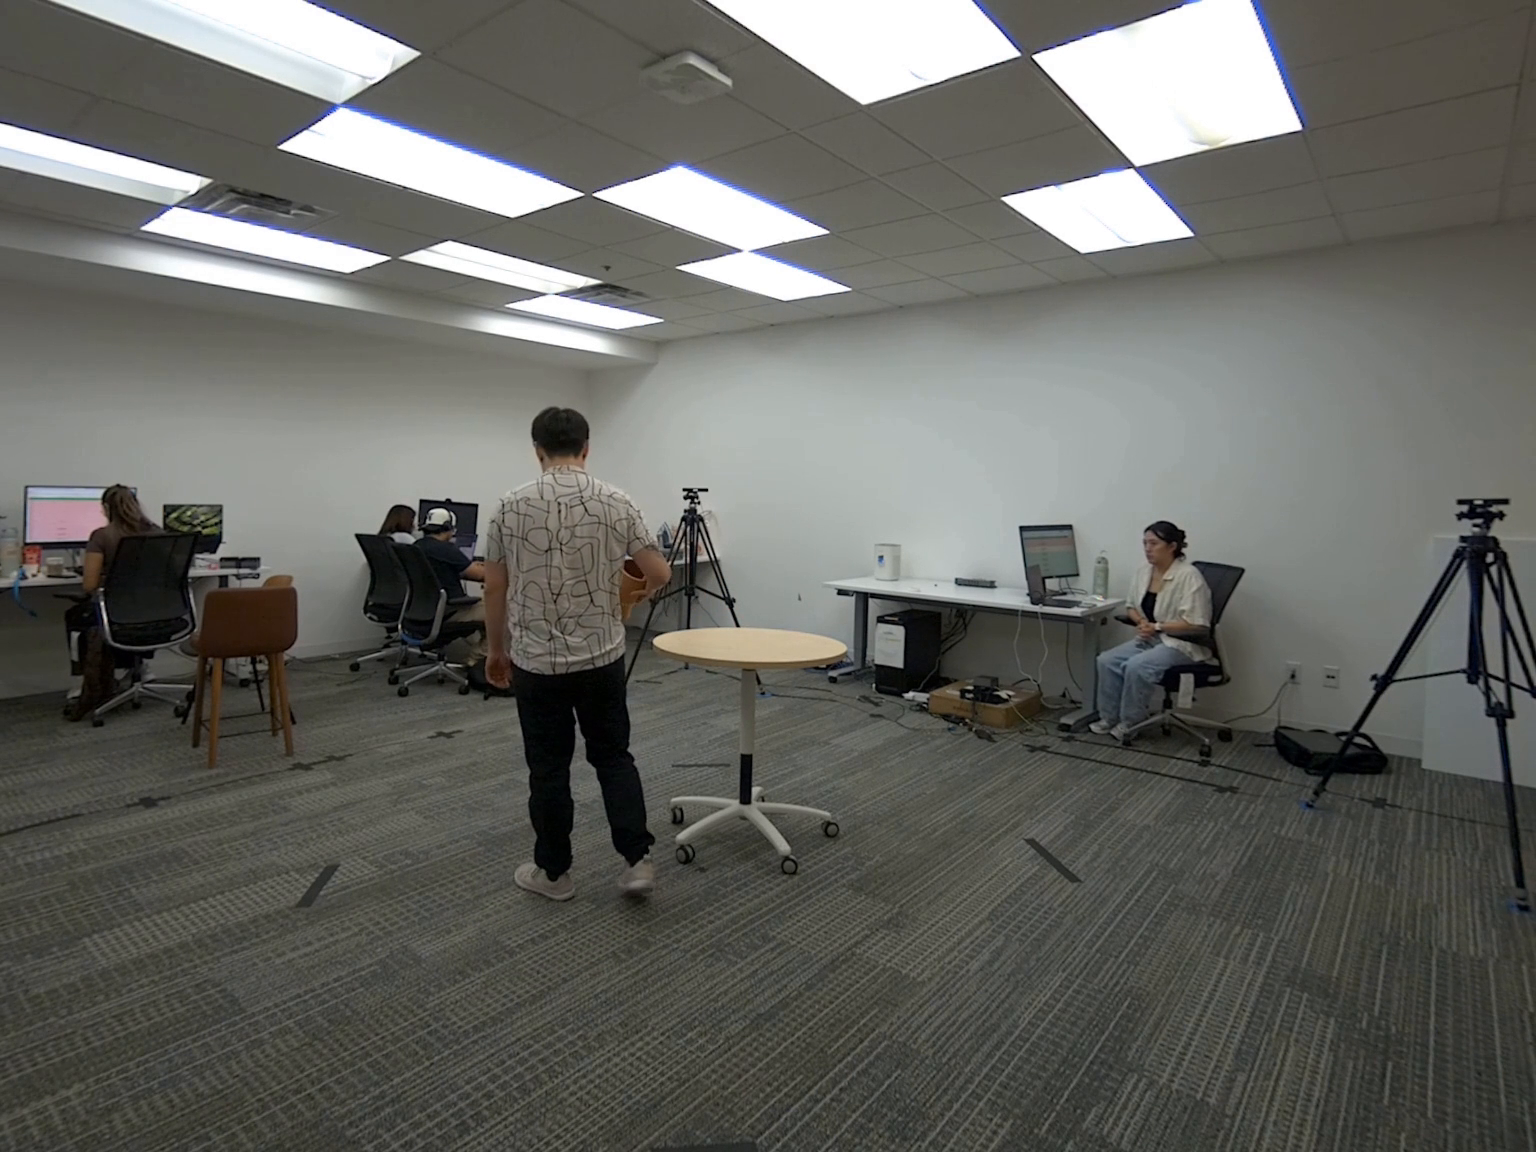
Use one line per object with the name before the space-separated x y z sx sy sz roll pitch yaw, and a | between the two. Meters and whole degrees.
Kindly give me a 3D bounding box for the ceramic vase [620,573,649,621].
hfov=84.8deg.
ceramic vase | -0.546 0.060 3.209 0.157 0.217 0.137 22 30 -7
